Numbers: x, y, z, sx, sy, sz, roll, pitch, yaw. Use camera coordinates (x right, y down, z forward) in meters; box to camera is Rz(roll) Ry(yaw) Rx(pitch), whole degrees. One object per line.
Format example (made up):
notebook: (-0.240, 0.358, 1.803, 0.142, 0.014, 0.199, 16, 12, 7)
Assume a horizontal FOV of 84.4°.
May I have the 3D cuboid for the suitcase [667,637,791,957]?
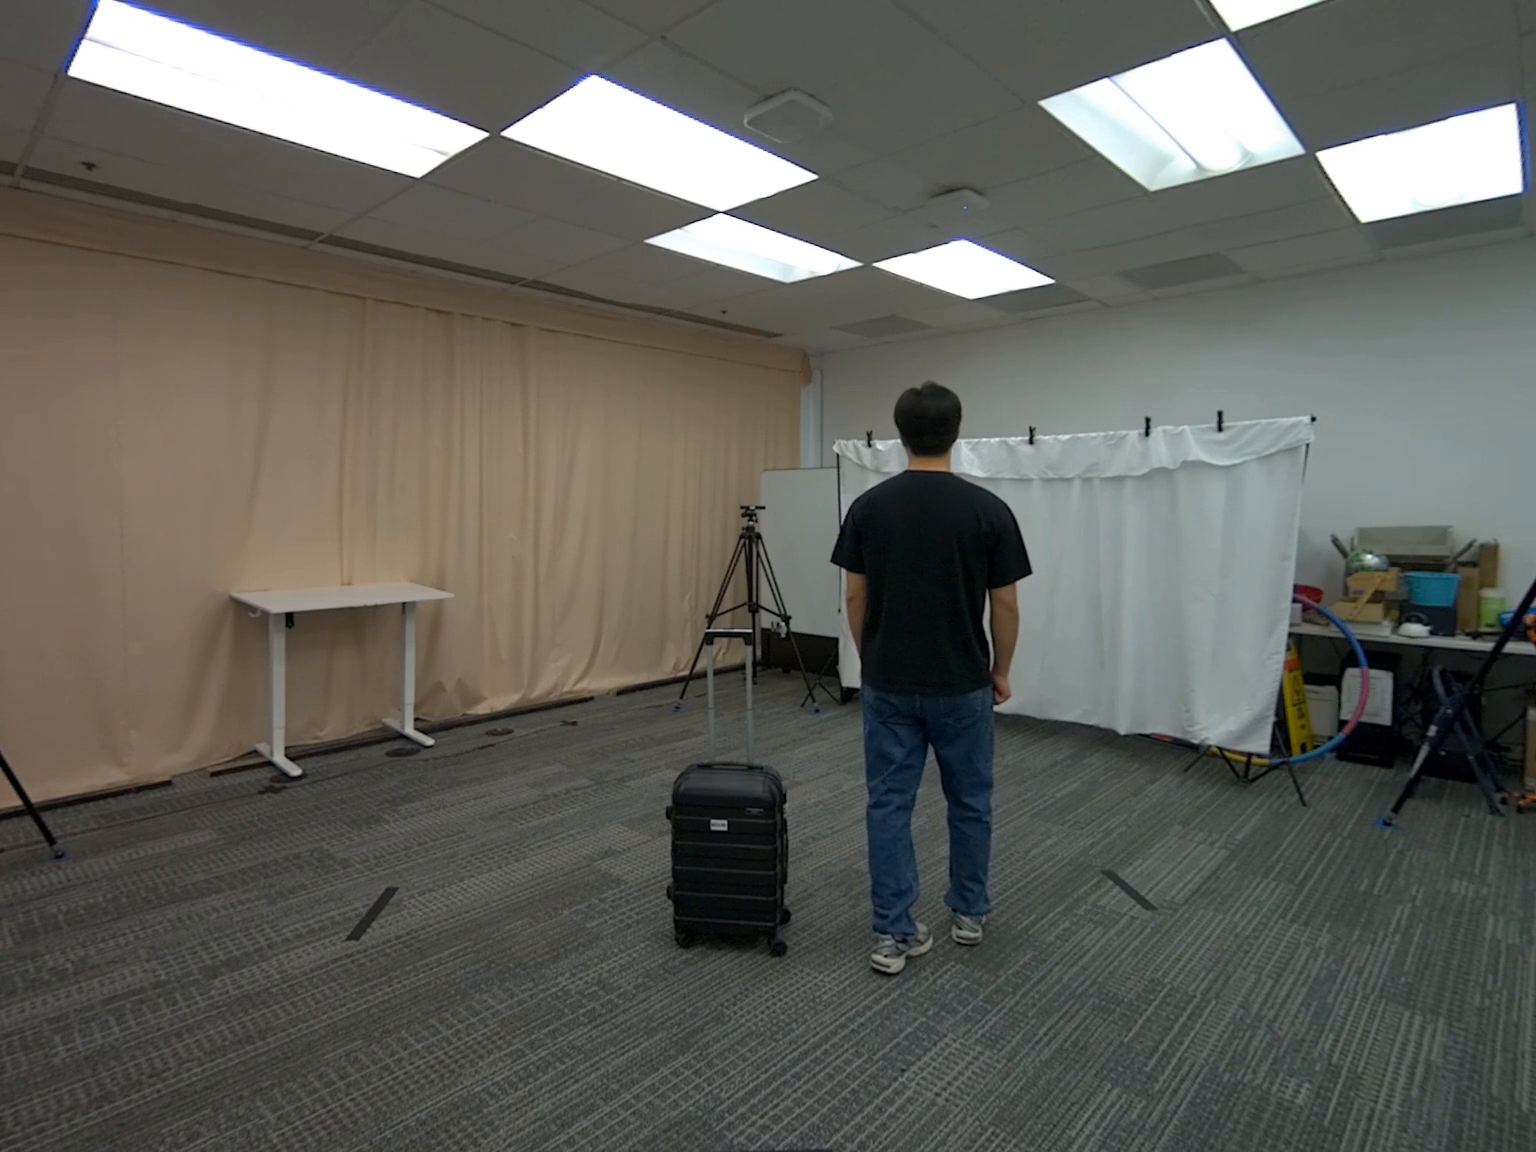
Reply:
suitcase: (-0.131, 0.693, 2.702, 0.387, 0.975, 0.256, -1, 5, 7)
